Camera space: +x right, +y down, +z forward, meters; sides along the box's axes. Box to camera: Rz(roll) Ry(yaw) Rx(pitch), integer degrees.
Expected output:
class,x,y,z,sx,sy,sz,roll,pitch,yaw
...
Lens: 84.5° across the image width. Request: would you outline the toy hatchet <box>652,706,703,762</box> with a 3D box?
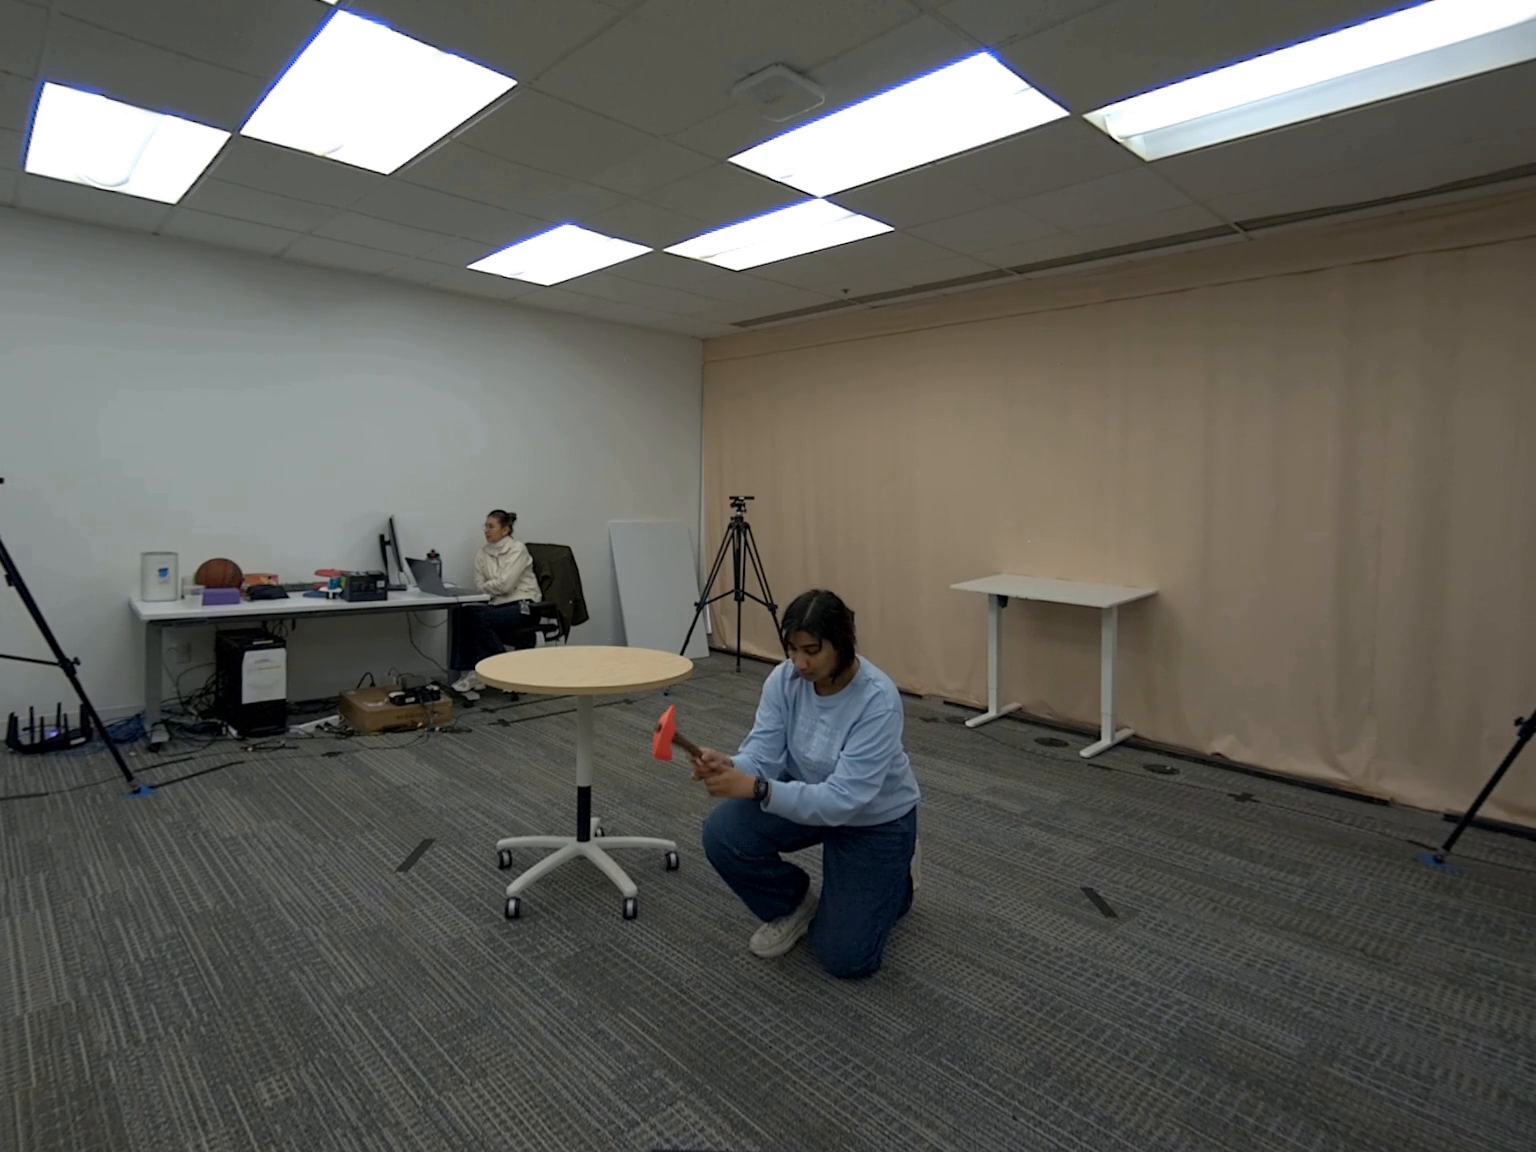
class,x,y,z,sx,sy,sz,roll,pitch,yaw
toy hatchet,-0.206,0.462,2.096,0.030,0.264,0.131,-11,29,35
